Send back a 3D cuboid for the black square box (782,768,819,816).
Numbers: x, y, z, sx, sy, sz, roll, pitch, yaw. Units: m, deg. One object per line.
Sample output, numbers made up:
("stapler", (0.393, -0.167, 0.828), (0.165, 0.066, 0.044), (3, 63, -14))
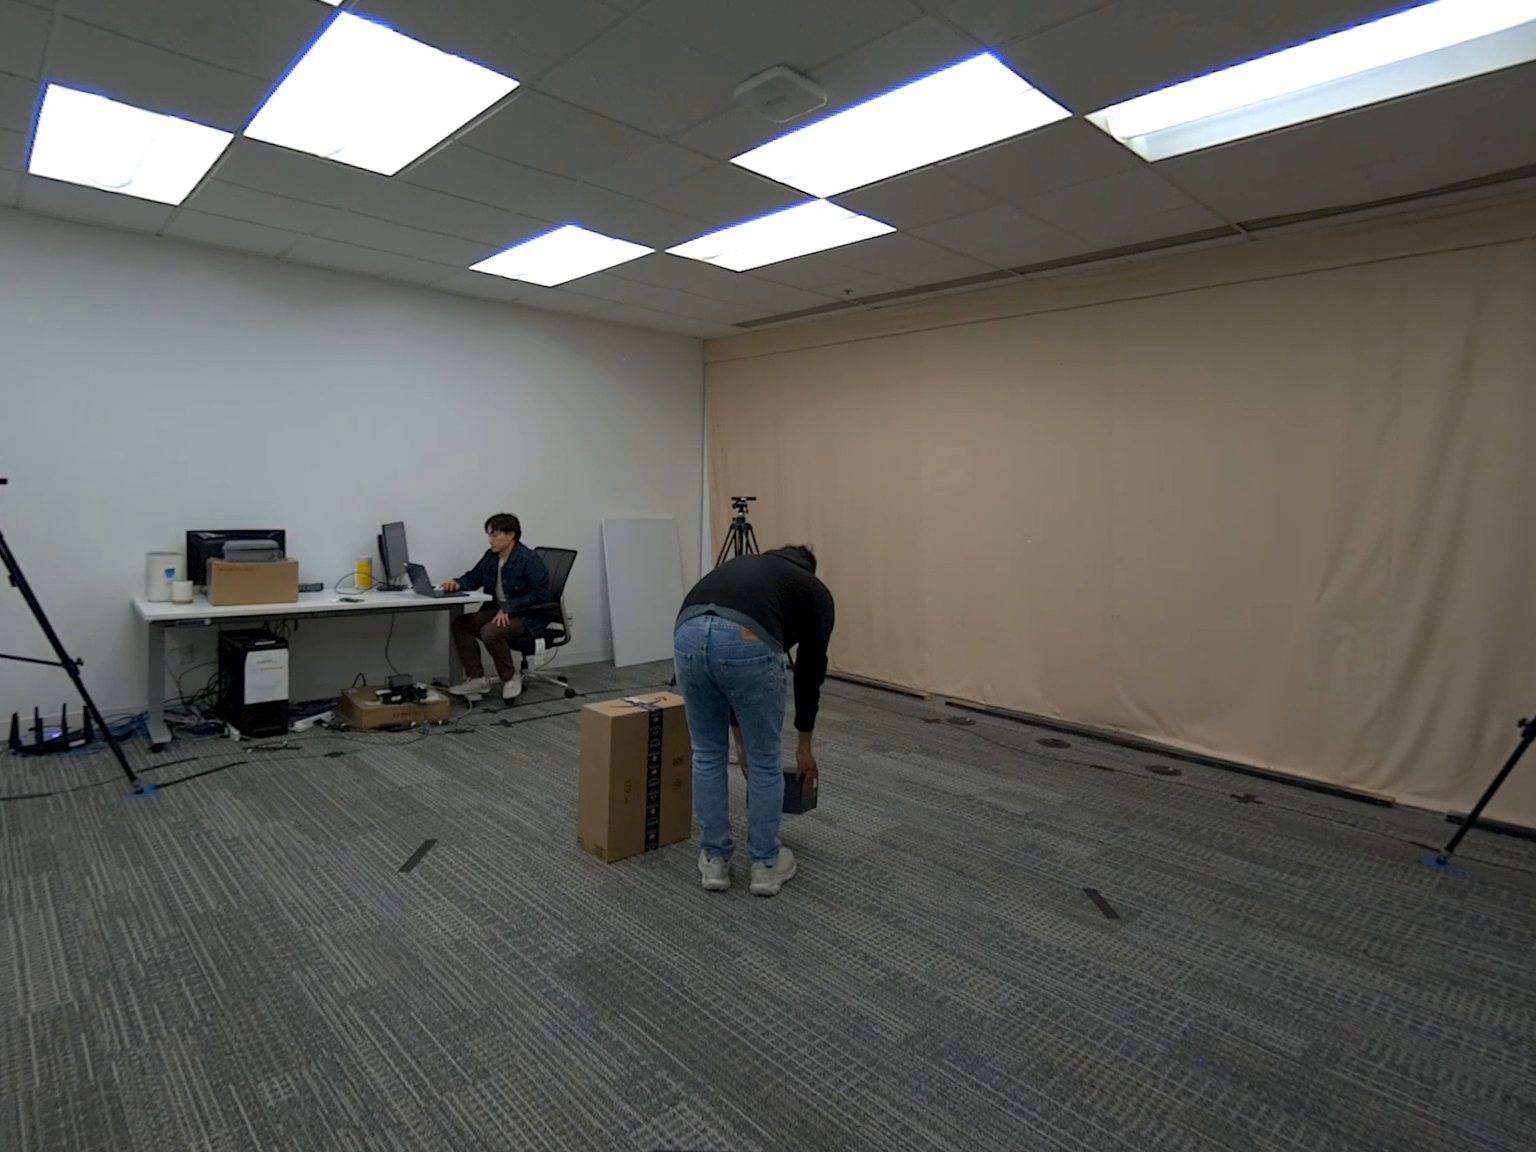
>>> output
("black square box", (0.050, 0.842, 3.380), (0.231, 0.157, 0.212), (0, -7, 21))
